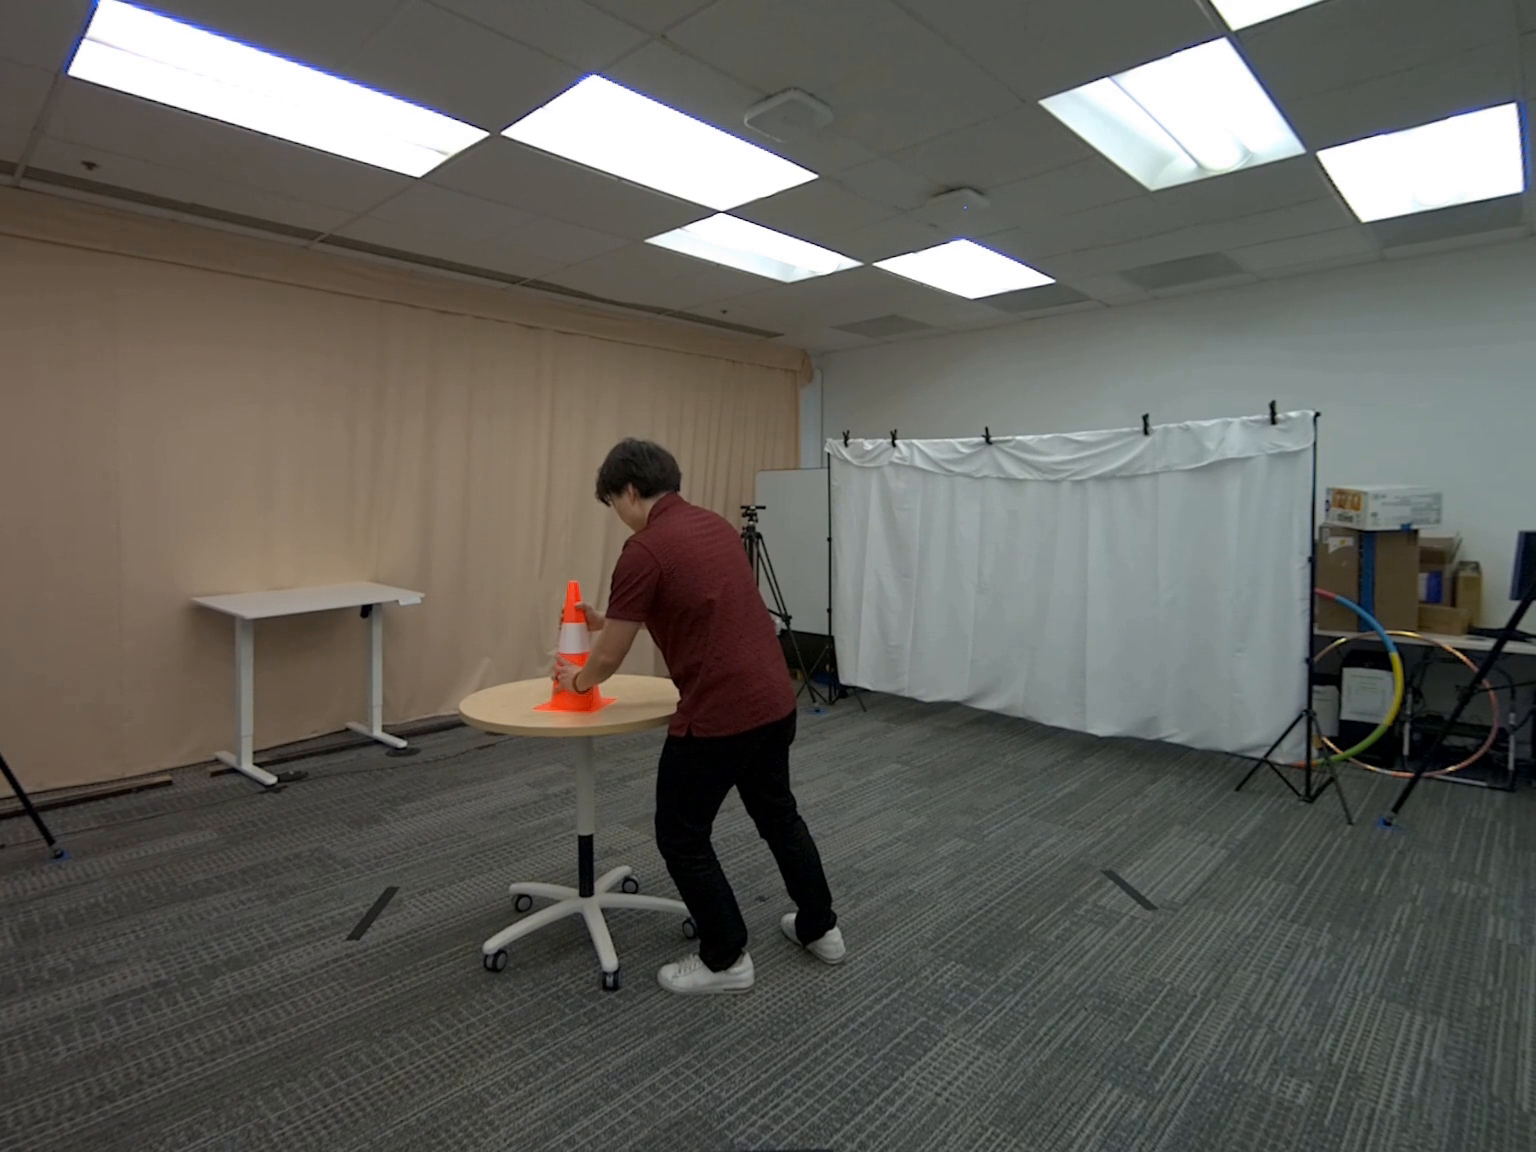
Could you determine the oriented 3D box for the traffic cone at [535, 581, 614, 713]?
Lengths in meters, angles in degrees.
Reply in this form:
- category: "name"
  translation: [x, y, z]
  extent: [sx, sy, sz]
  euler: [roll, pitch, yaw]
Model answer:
- category: "traffic cone"
  translation: [-0.601, 0.212, 2.579]
  extent: [0.207, 0.383, 0.202]
  euler: [-1, 1, 7]
